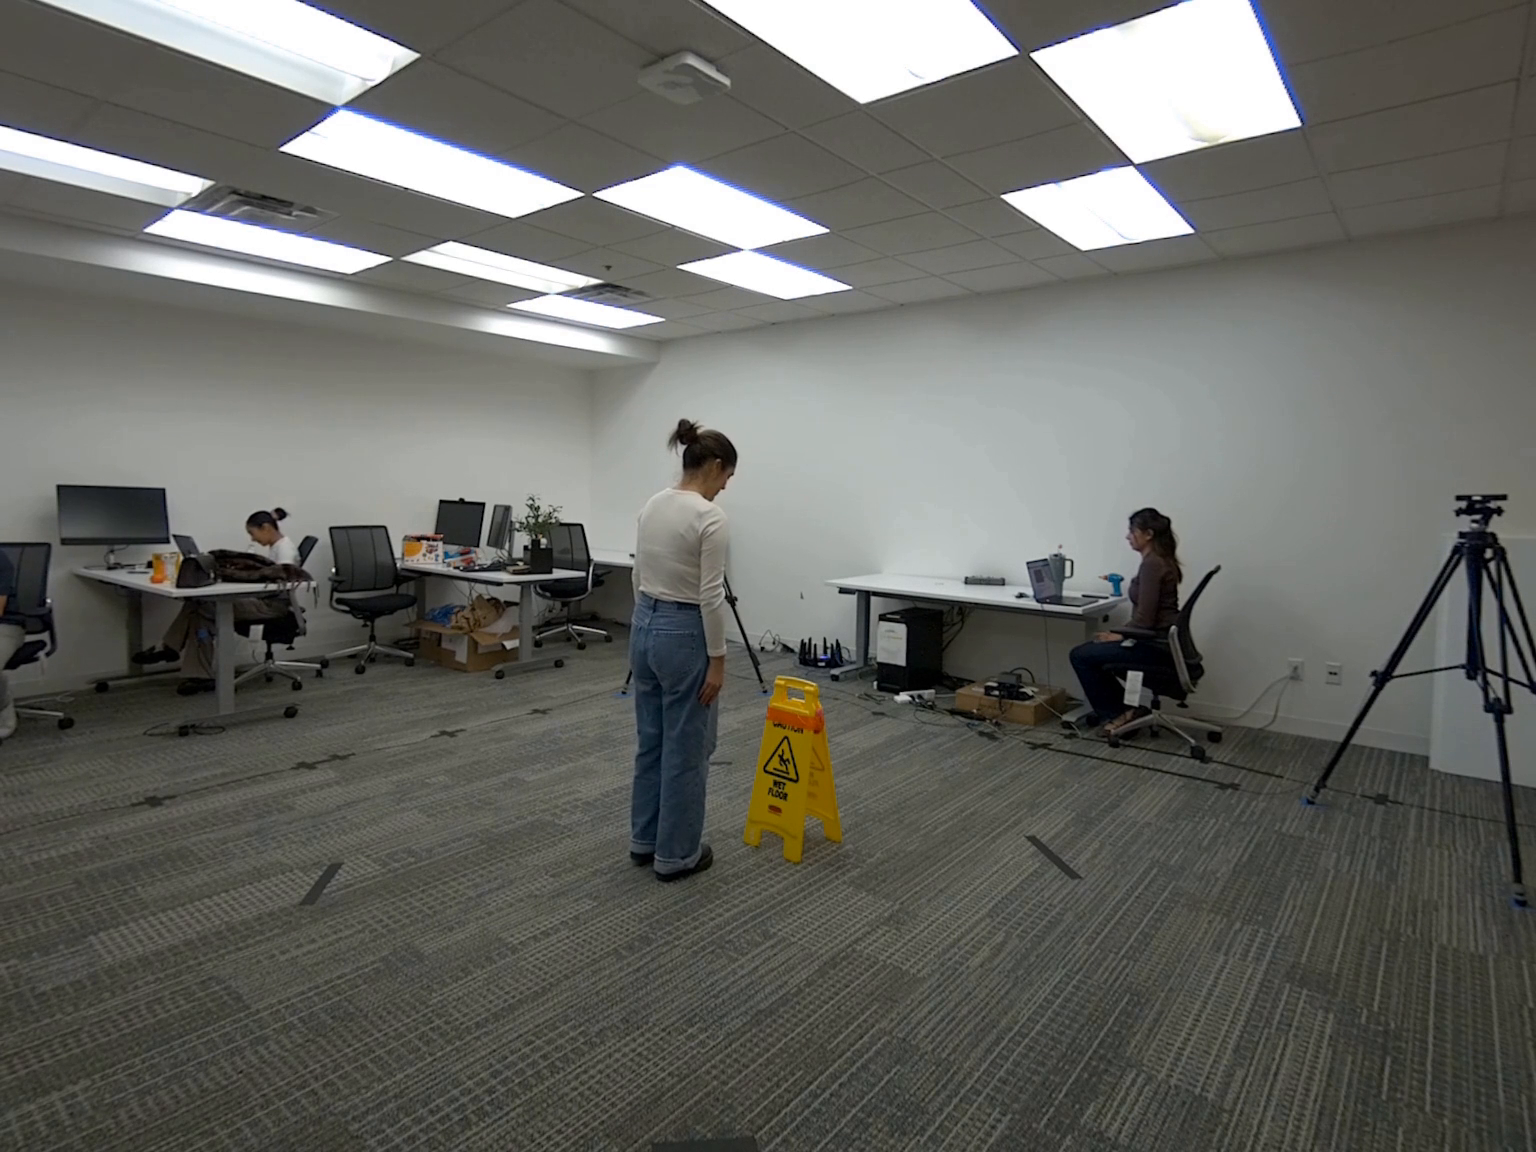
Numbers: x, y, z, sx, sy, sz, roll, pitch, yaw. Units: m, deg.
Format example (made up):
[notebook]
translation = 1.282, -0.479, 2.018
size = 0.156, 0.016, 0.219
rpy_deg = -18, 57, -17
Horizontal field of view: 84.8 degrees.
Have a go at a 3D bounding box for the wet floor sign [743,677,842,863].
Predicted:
[wet floor sign]
translation = 0.092, 0.724, 3.334
size = 0.292, 0.644, 0.281
rpy_deg = 3, 5, 41
